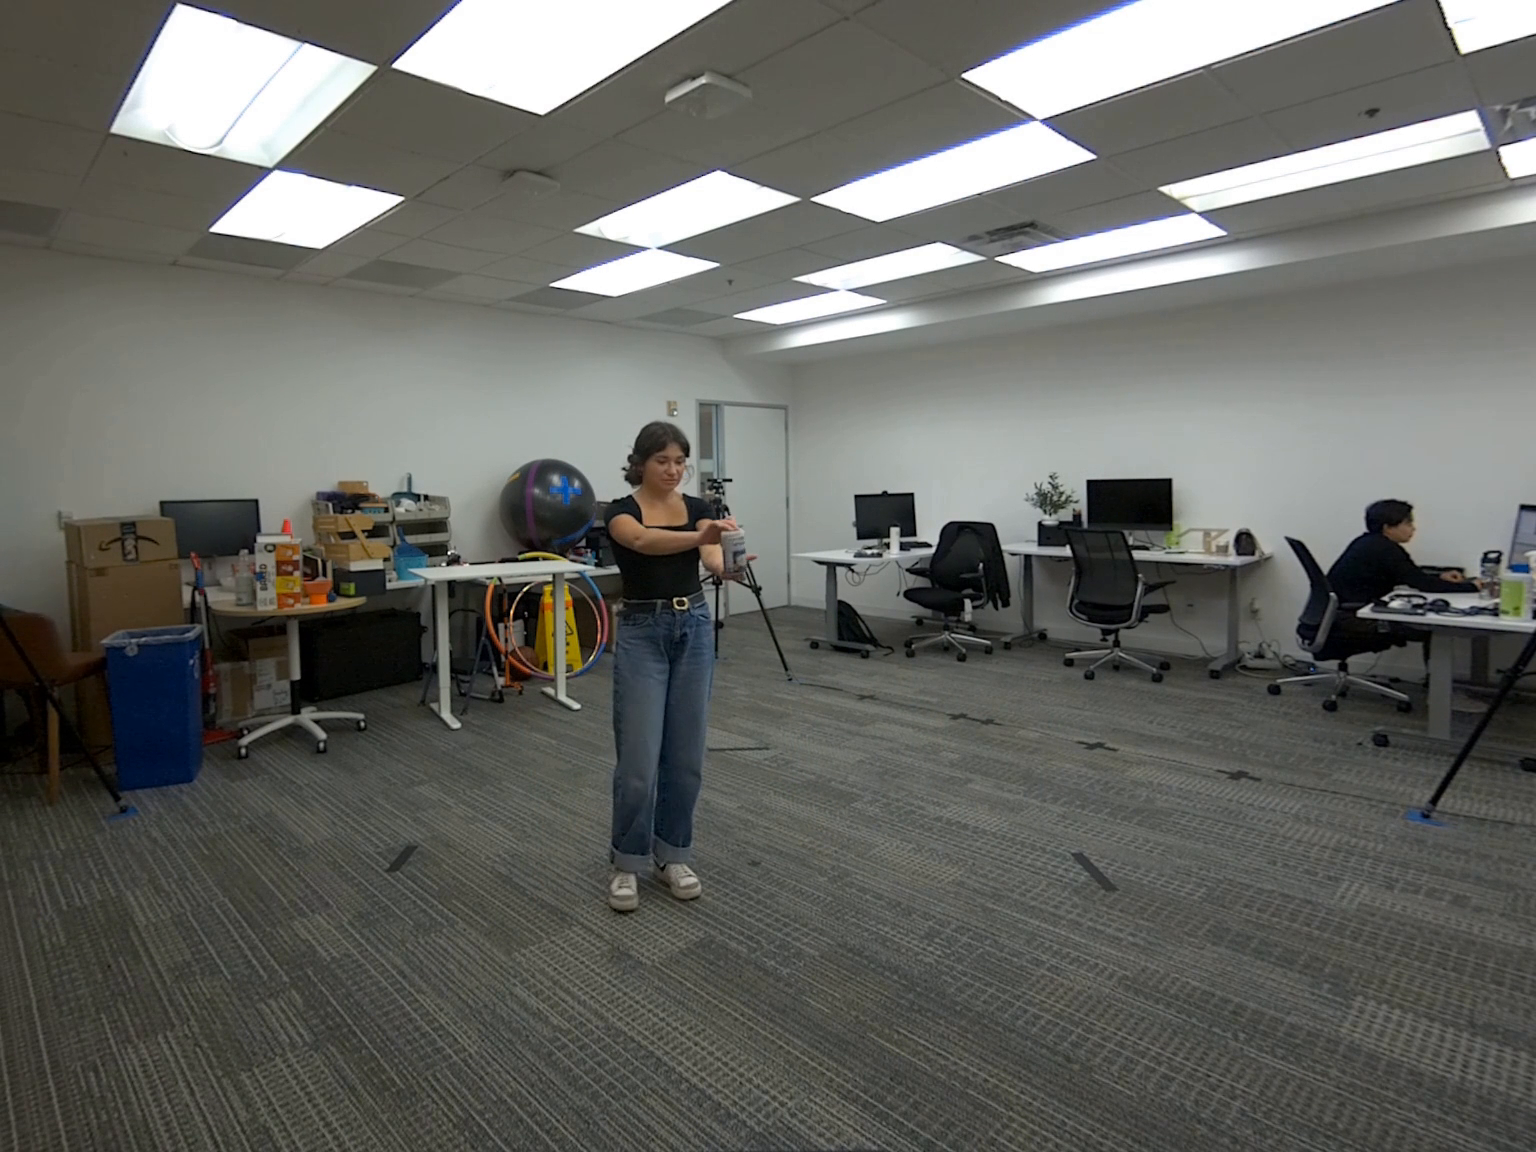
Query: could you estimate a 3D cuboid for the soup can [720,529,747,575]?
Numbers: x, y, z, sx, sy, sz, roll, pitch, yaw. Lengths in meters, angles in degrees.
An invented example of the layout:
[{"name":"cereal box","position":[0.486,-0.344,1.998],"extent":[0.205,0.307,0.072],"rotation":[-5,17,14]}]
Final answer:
[{"name":"soup can","position":[-0.094,-0.071,2.396],"extent":[0.067,0.120,0.068],"rotation":[-6,9,-1]}]
